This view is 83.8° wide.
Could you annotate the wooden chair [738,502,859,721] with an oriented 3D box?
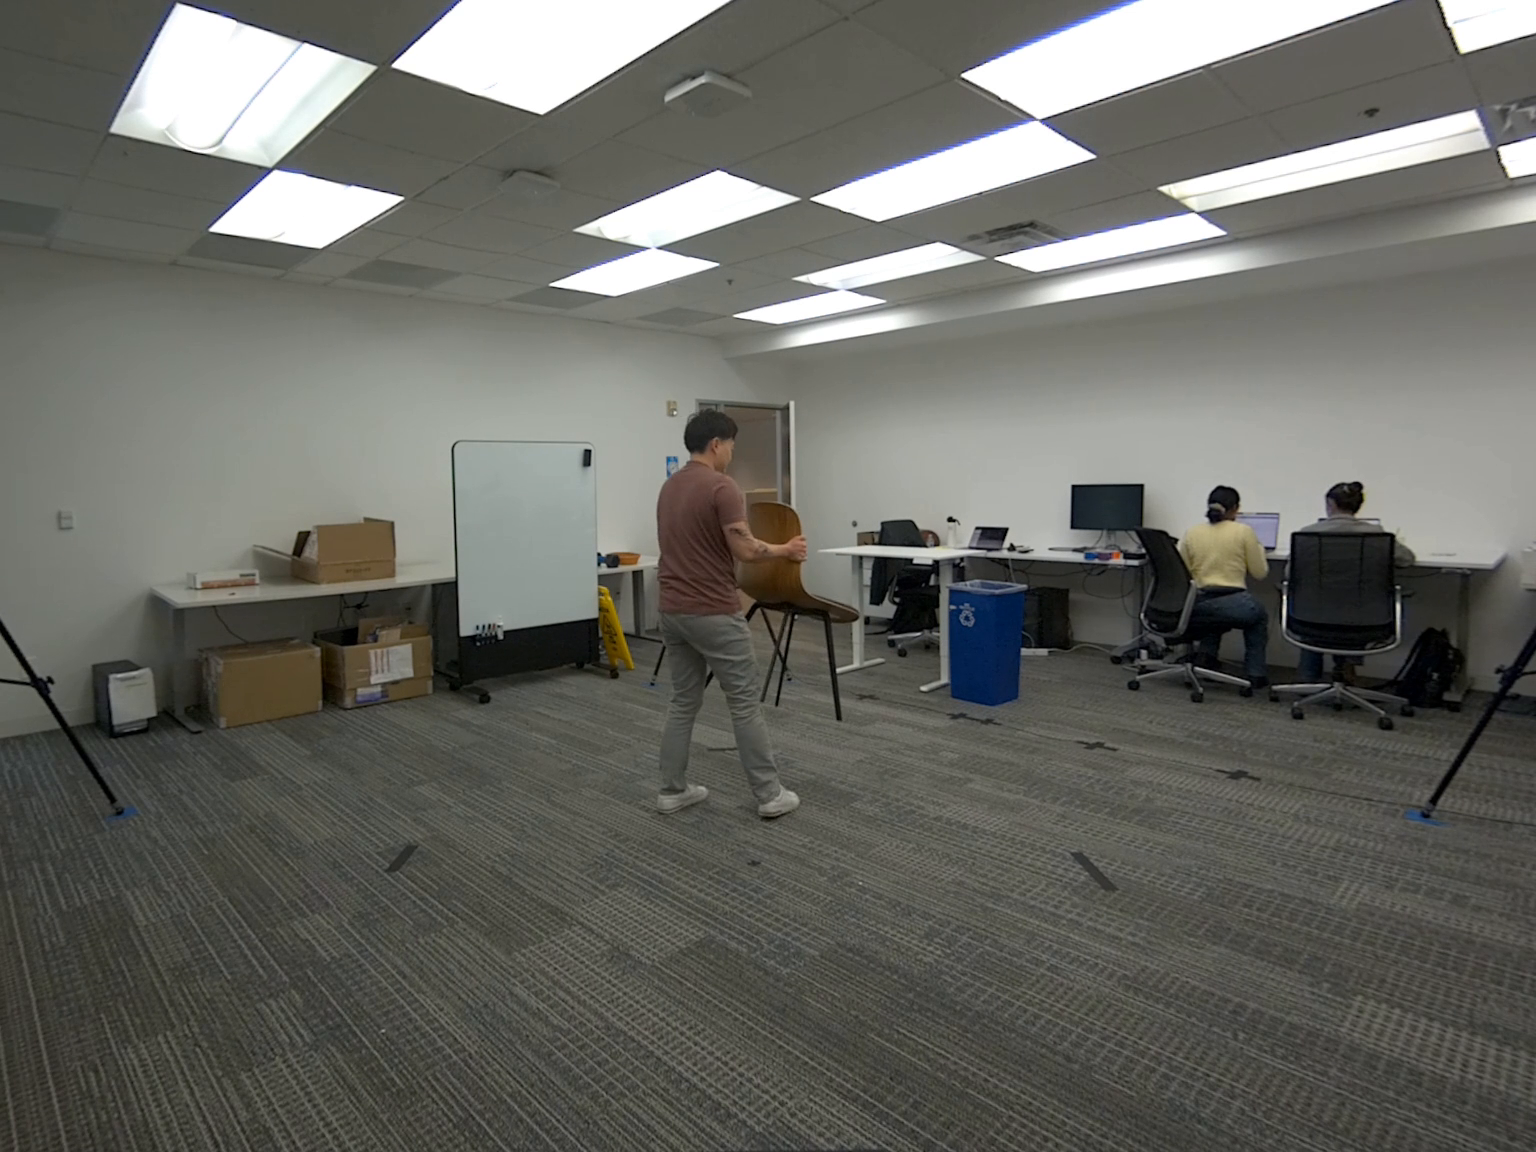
[{"bbox_3d":[0.098,0.159,3.817,0.506,0.883,0.491,14,-9,-37],"label":"wooden chair"}]
